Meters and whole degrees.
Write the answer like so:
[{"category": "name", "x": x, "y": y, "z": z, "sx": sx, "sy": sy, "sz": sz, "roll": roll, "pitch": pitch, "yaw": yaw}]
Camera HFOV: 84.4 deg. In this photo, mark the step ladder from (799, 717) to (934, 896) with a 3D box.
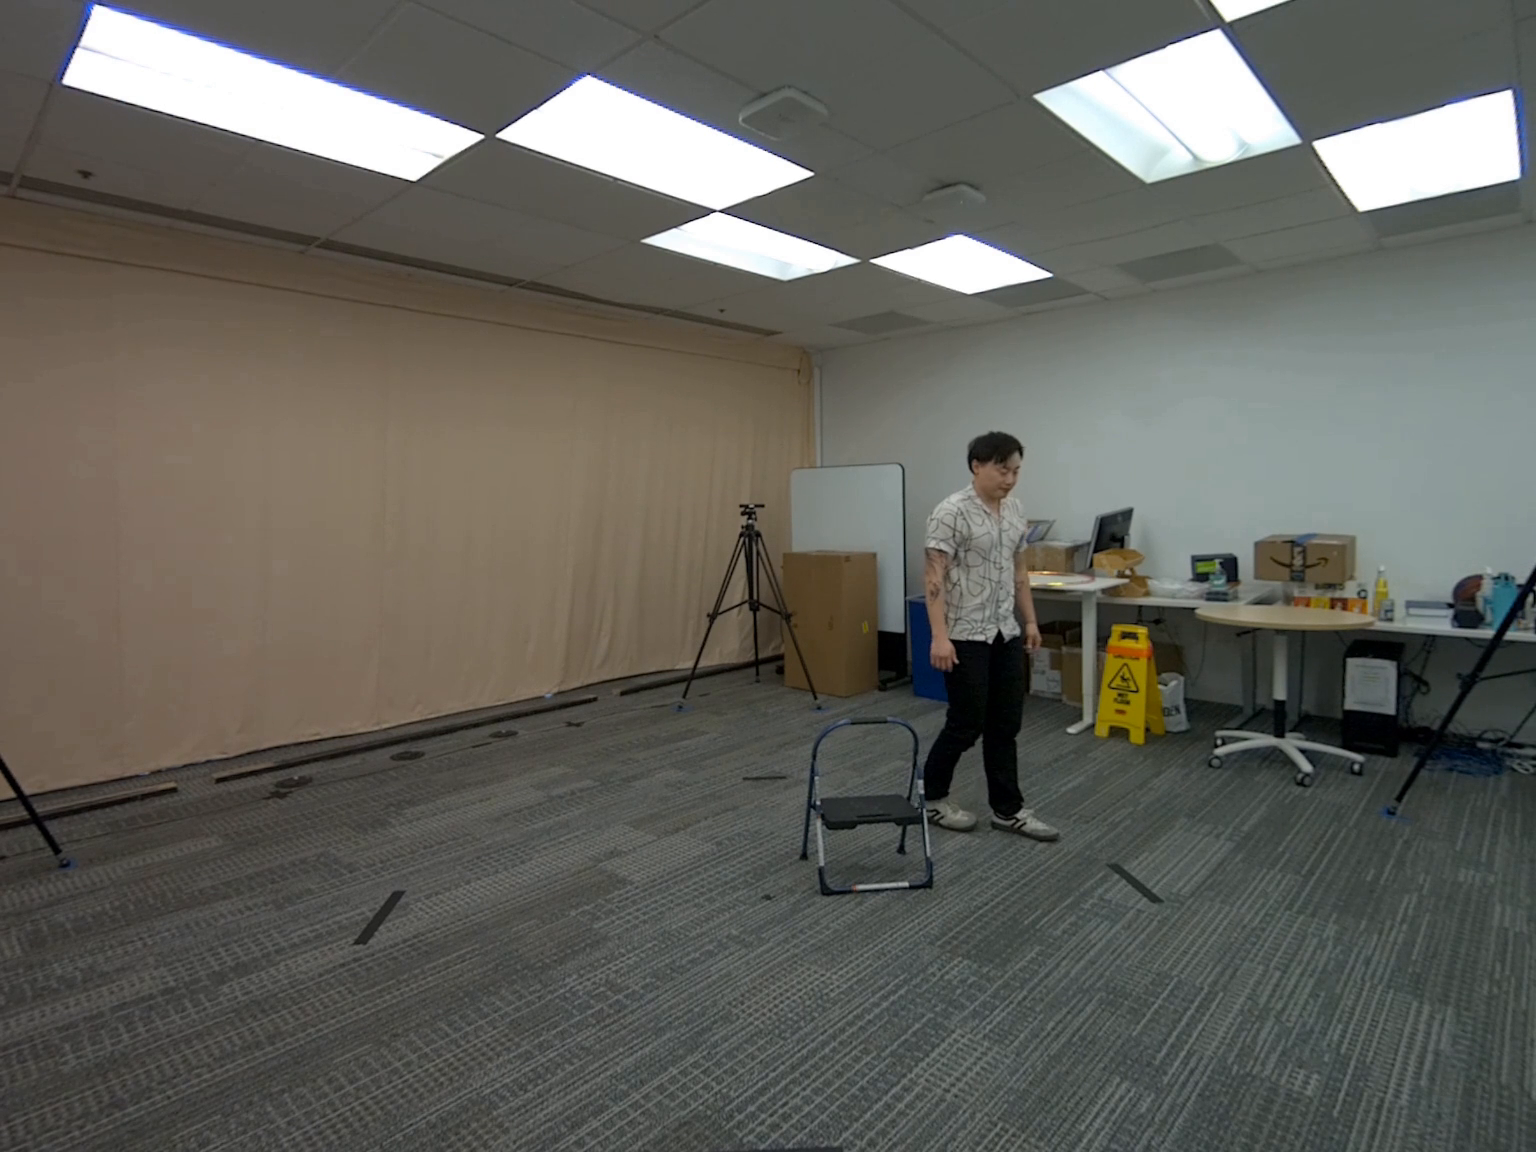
[{"category": "step ladder", "x": 0.361, "y": 0.817, "z": 3.155, "sx": 0.427, "sy": 0.605, "sz": 0.353, "roll": -1, "pitch": 3, "yaw": -9}]
